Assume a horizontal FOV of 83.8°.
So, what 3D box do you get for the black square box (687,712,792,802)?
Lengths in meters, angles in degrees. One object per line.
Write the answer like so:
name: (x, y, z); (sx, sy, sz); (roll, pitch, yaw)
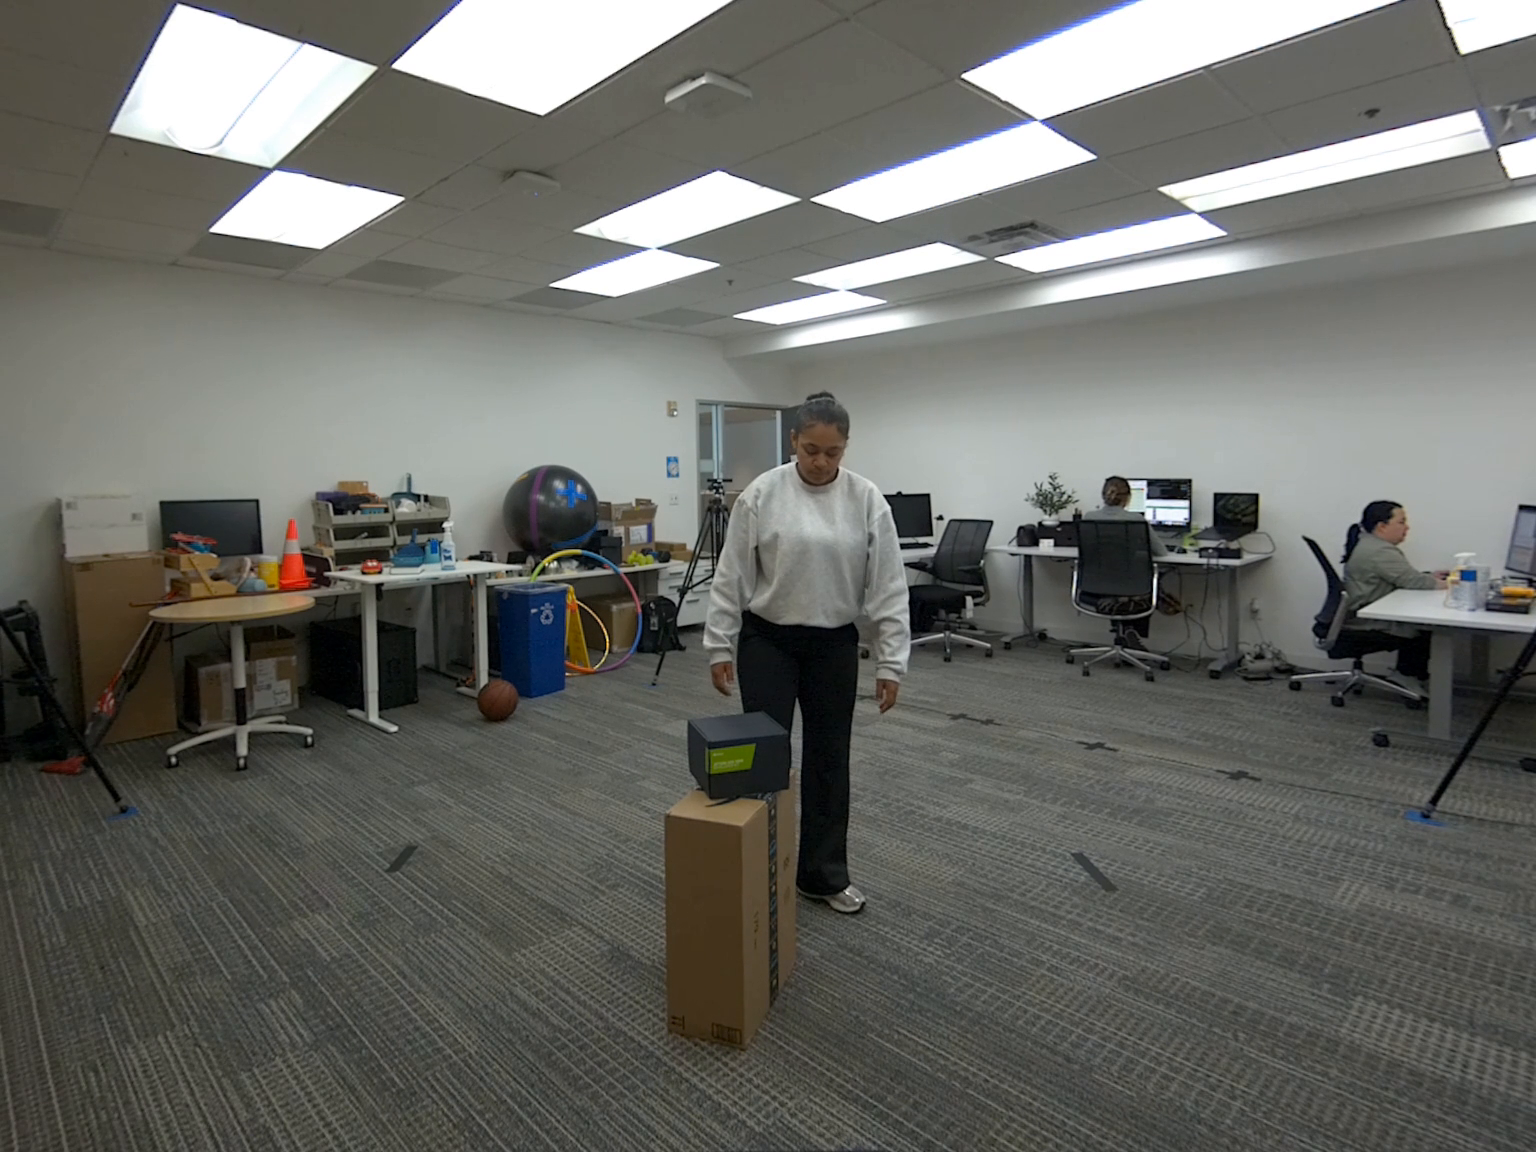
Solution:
black square box: (-0.081, 0.488, 2.358); (0.224, 0.155, 0.221); (-2, 6, -18)
